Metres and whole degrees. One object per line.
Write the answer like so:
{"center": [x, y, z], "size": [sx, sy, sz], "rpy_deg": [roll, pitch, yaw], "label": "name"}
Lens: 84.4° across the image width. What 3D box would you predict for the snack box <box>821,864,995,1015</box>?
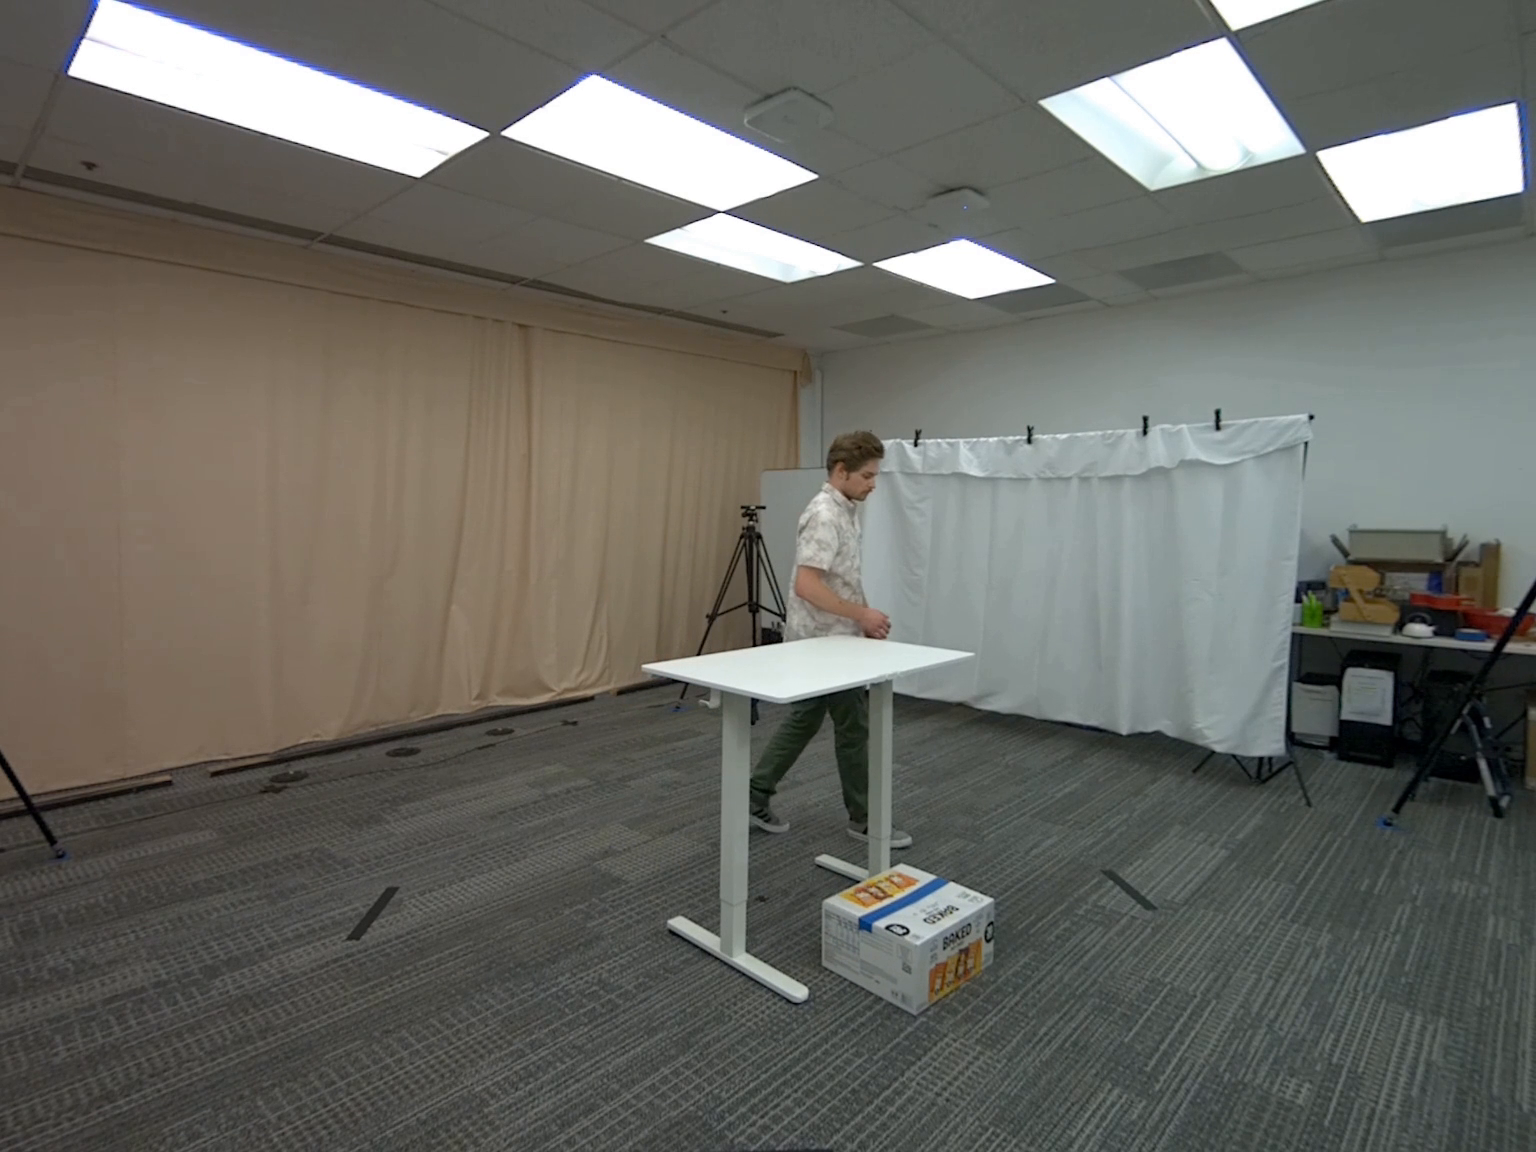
{"center": [0.426, 1.076, 2.541], "size": [0.393, 0.205, 0.352], "rpy_deg": [-4, 6, -44], "label": "snack box"}
